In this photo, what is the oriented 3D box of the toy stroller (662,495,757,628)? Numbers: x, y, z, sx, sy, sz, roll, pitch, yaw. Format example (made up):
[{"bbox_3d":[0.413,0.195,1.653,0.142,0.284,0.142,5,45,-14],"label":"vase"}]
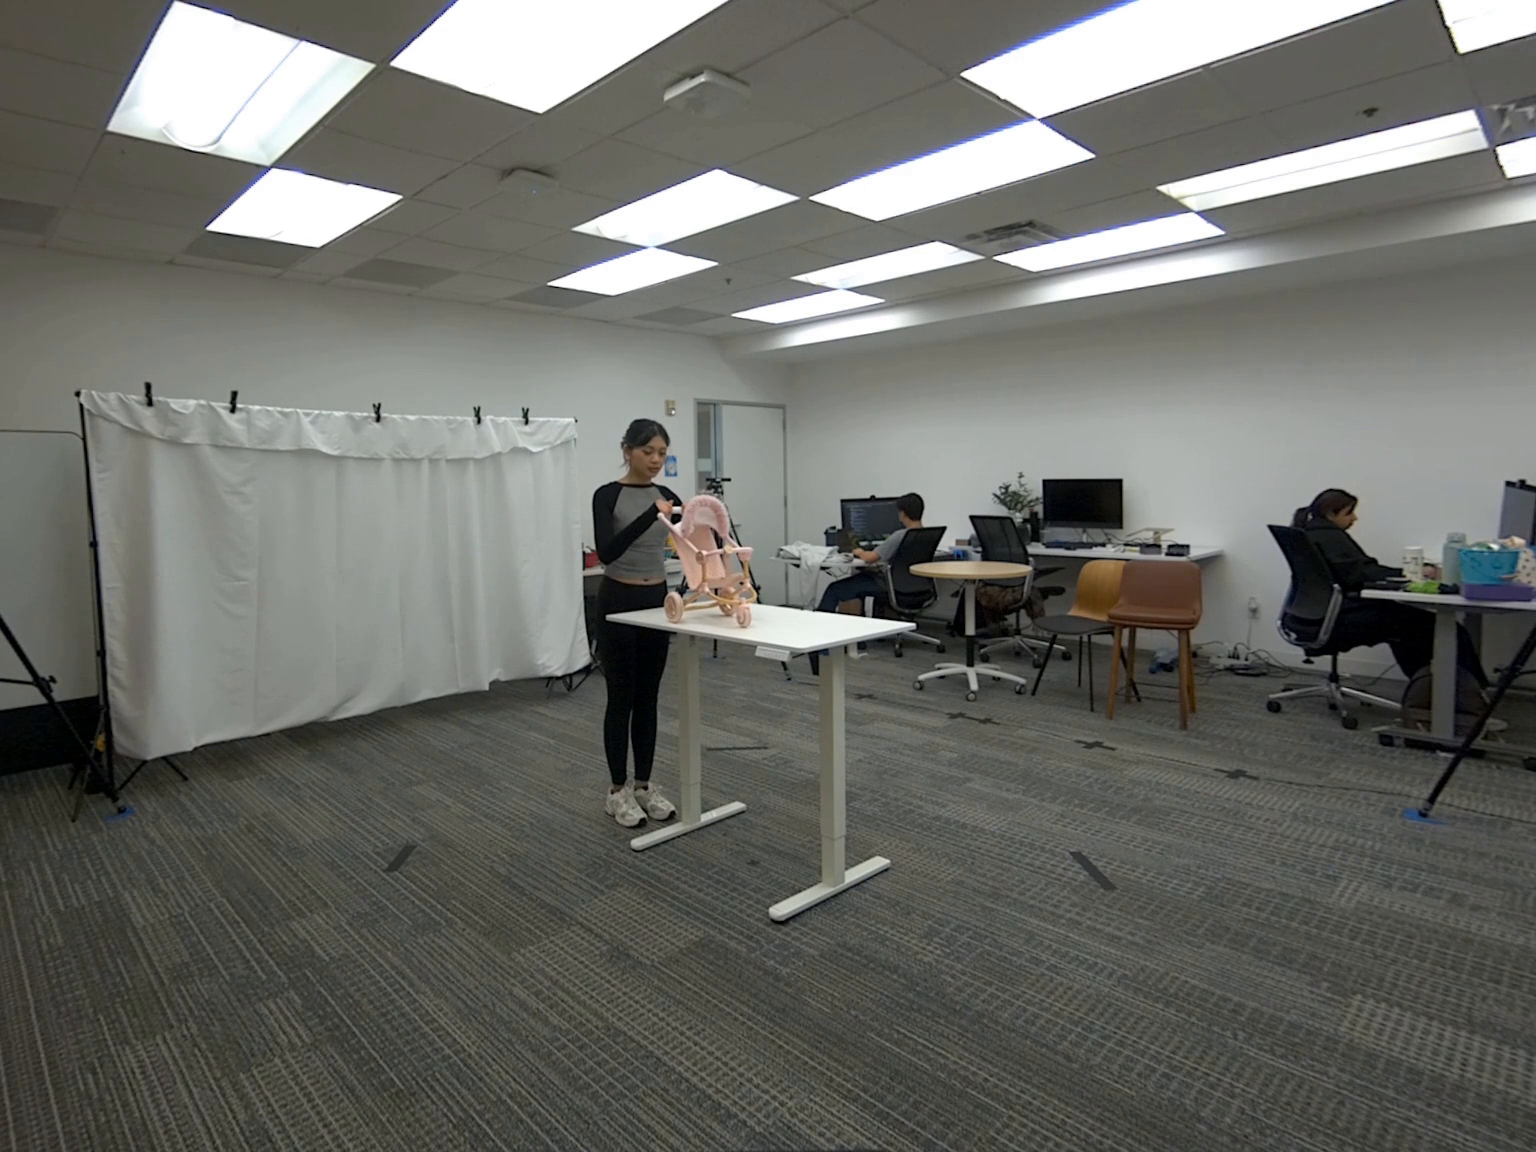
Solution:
[{"bbox_3d":[-0.210,-0.059,3.088,0.274,0.541,0.346,-3,-13,-35],"label":"toy stroller"}]
